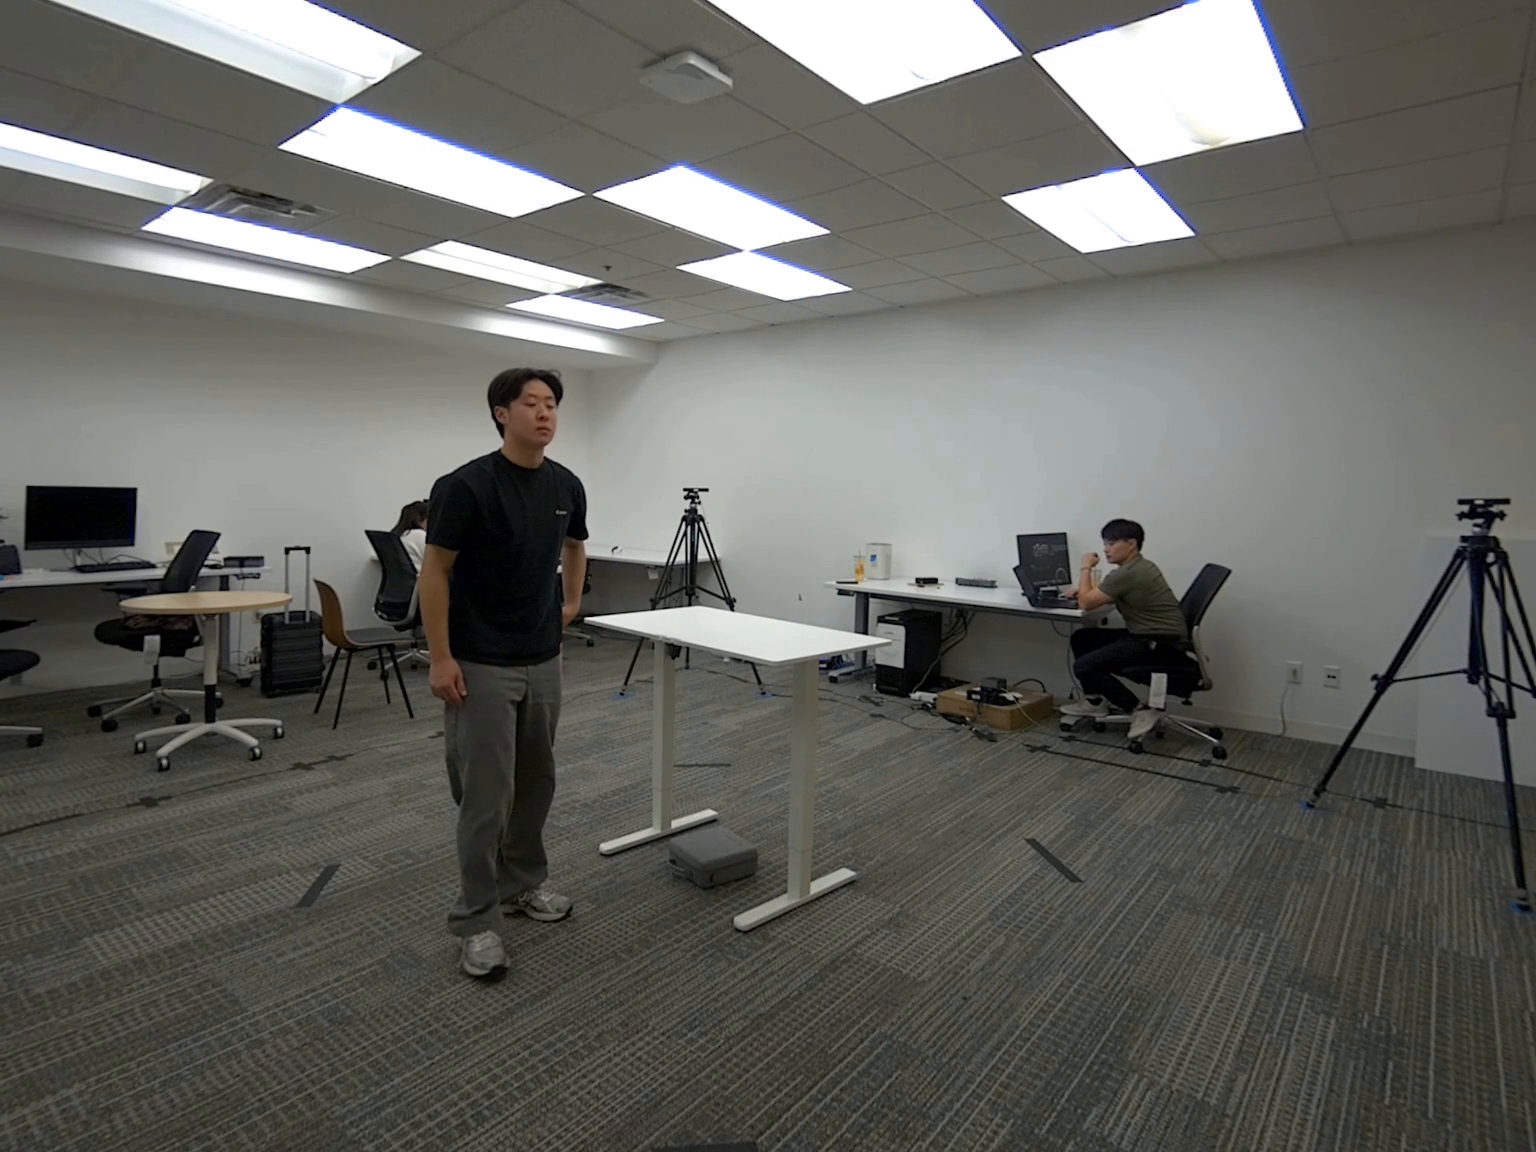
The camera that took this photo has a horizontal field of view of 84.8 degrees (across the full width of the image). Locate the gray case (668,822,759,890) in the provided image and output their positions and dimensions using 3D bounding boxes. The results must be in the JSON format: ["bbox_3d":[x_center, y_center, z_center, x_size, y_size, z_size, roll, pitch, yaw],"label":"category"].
[{"bbox_3d":[-0.208,1.010,3.106,0.279,0.103,0.272,-3,6,-34],"label":"gray case"}]
